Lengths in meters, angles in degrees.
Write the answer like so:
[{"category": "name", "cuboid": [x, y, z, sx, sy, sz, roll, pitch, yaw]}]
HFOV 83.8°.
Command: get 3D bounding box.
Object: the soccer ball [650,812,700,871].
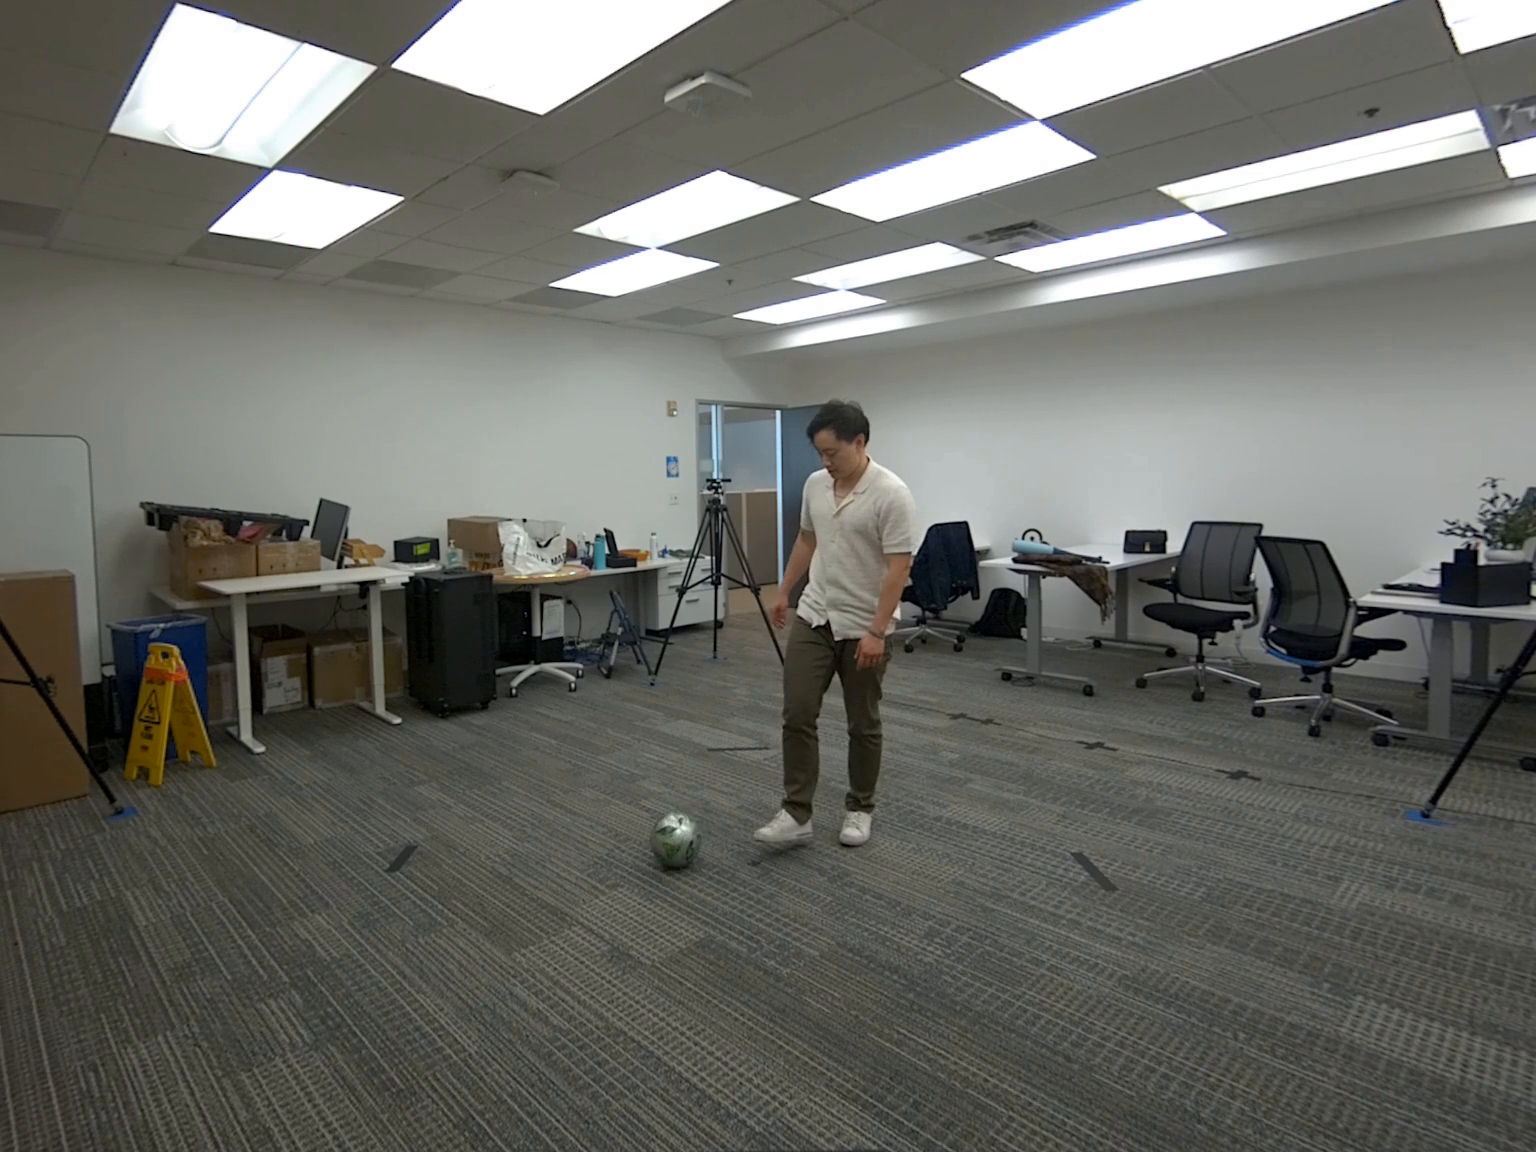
[{"category": "soccer ball", "cuboid": [-0.335, 0.952, 3.095, 0.187, 0.187, 0.188, -1, 5, -2]}]
